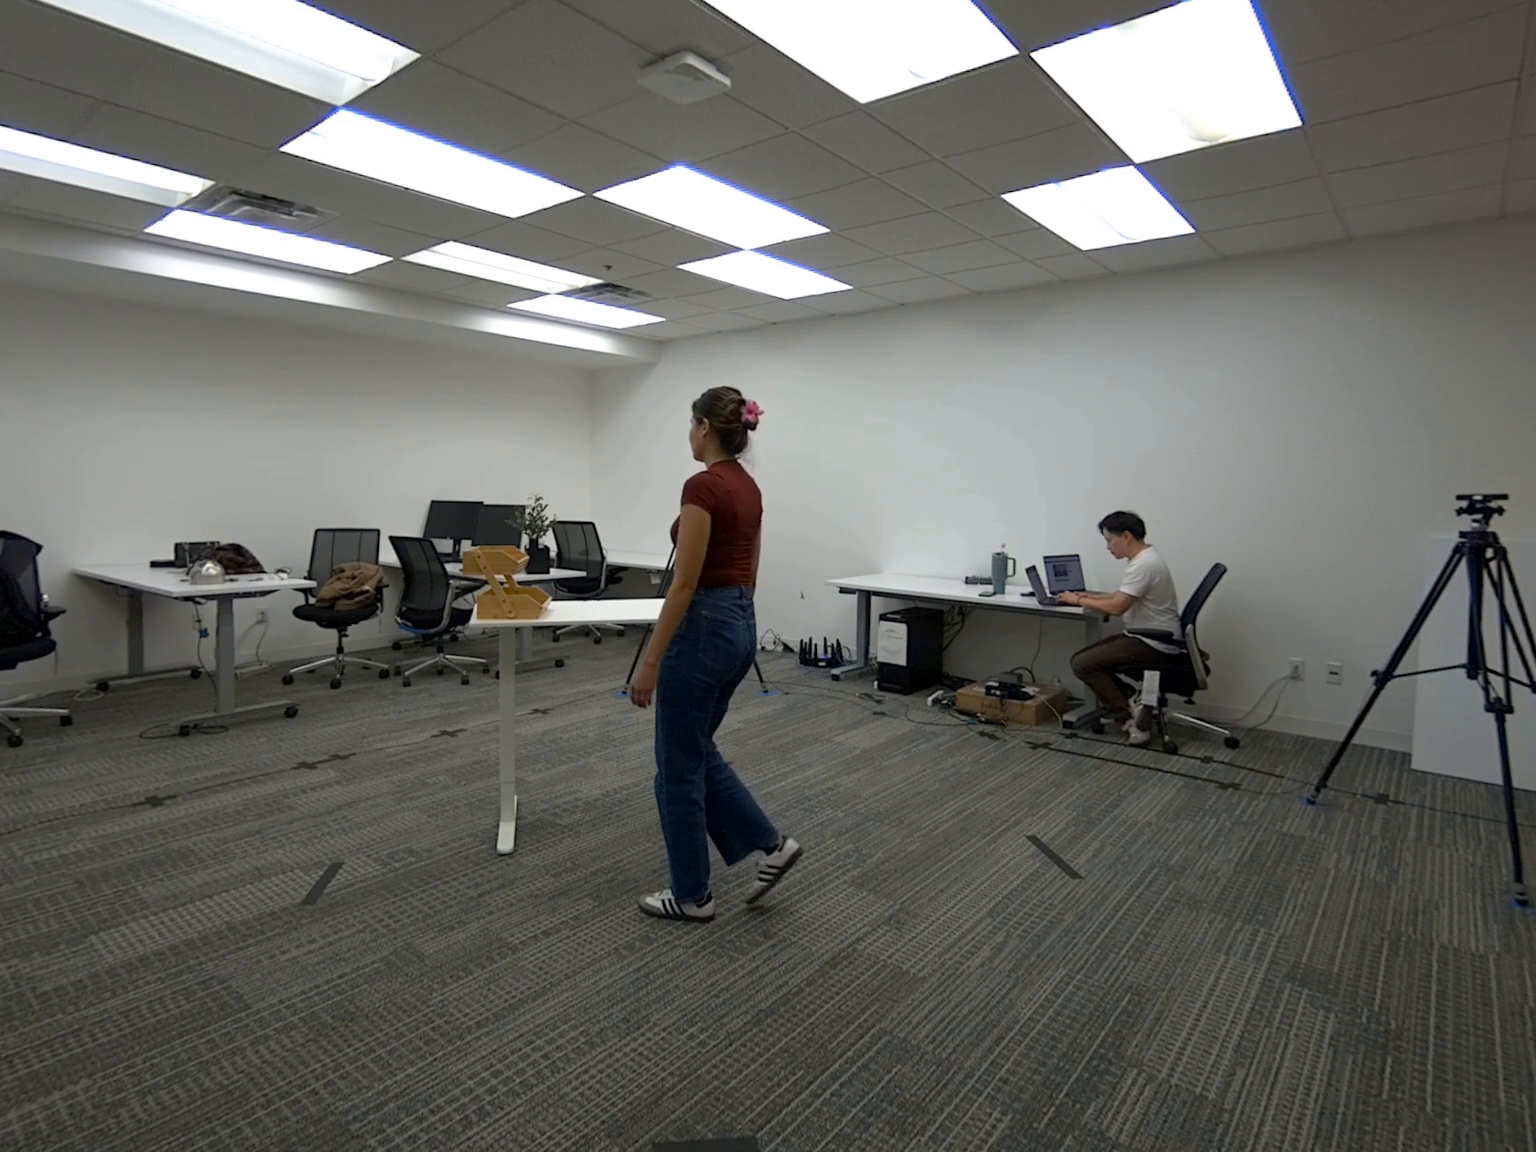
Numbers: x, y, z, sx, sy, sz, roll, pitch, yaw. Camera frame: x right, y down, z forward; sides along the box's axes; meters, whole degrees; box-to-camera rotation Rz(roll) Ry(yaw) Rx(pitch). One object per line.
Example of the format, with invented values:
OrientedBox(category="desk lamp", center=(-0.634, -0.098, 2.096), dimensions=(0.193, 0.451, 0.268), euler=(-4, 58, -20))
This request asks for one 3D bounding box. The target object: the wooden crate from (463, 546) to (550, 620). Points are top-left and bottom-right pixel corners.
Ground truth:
OrientedBox(category="wooden crate", center=(-1.037, 0.017, 3.371), dimensions=(0.300, 0.272, 0.328), euler=(0, 4, -7))
